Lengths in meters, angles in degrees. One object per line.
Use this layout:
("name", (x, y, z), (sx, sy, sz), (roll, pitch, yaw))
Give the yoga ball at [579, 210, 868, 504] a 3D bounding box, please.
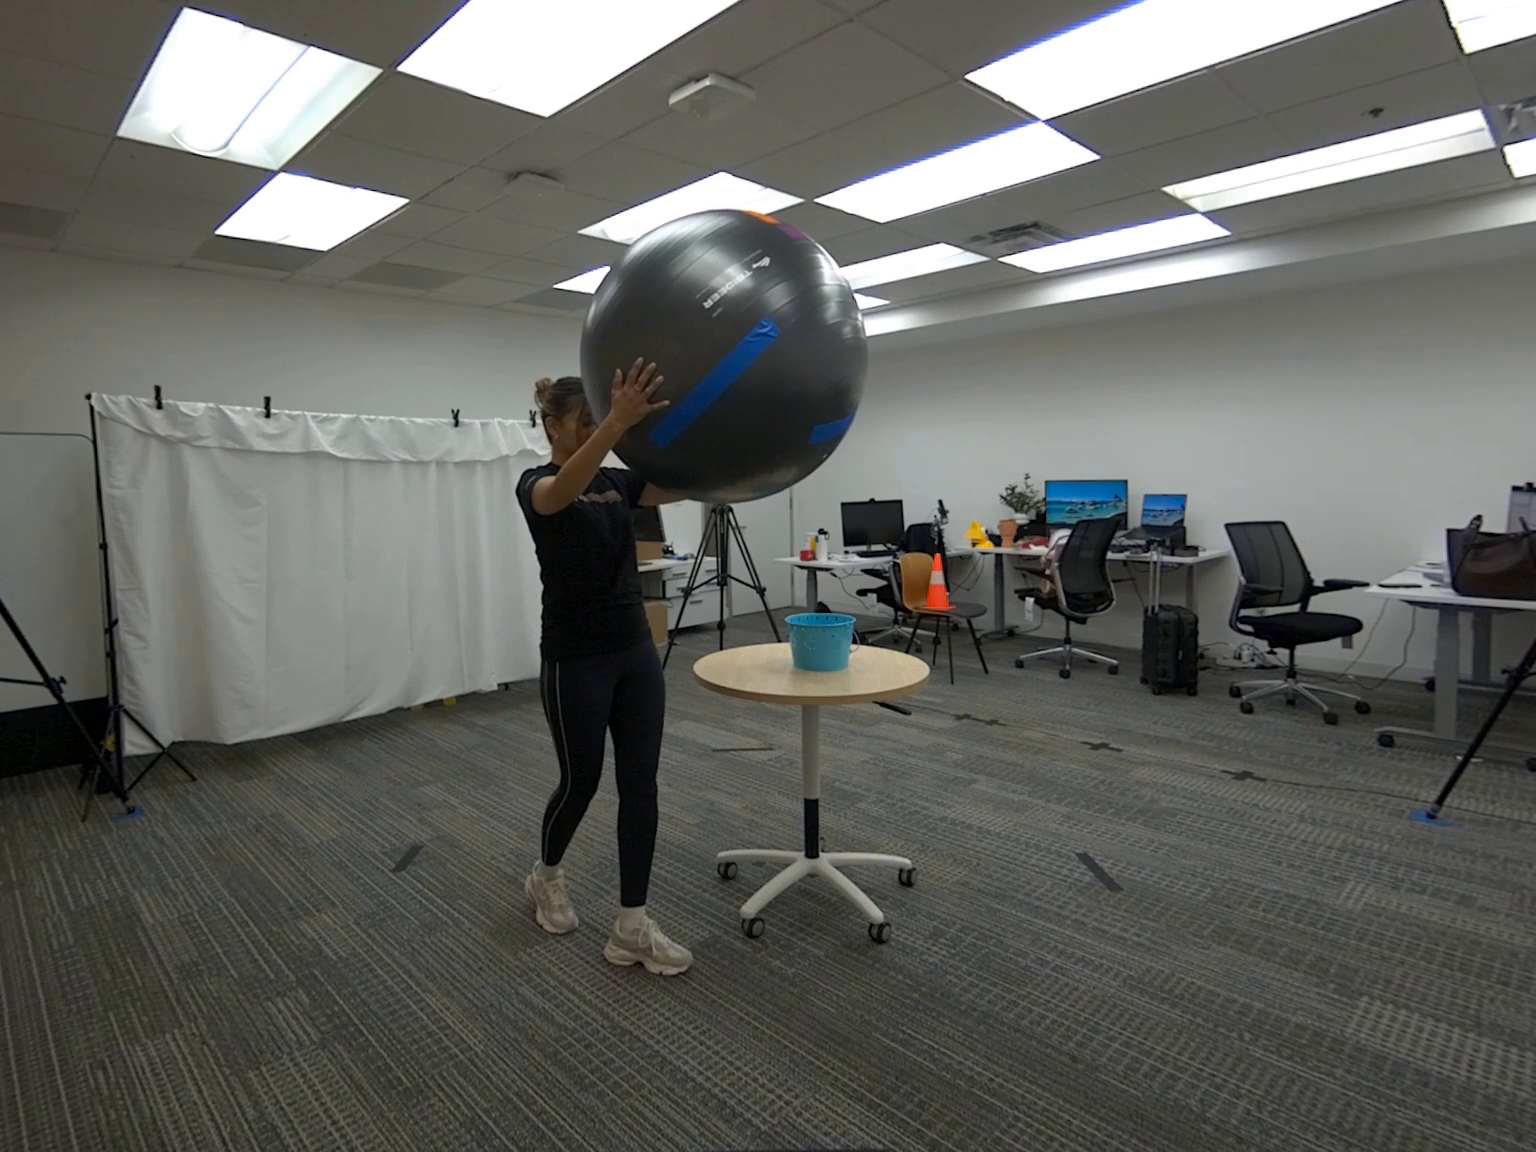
("yoga ball", (-0.119, -0.569, 2.263), (0.757, 0.755, 0.762), (-1, 5, -2))
